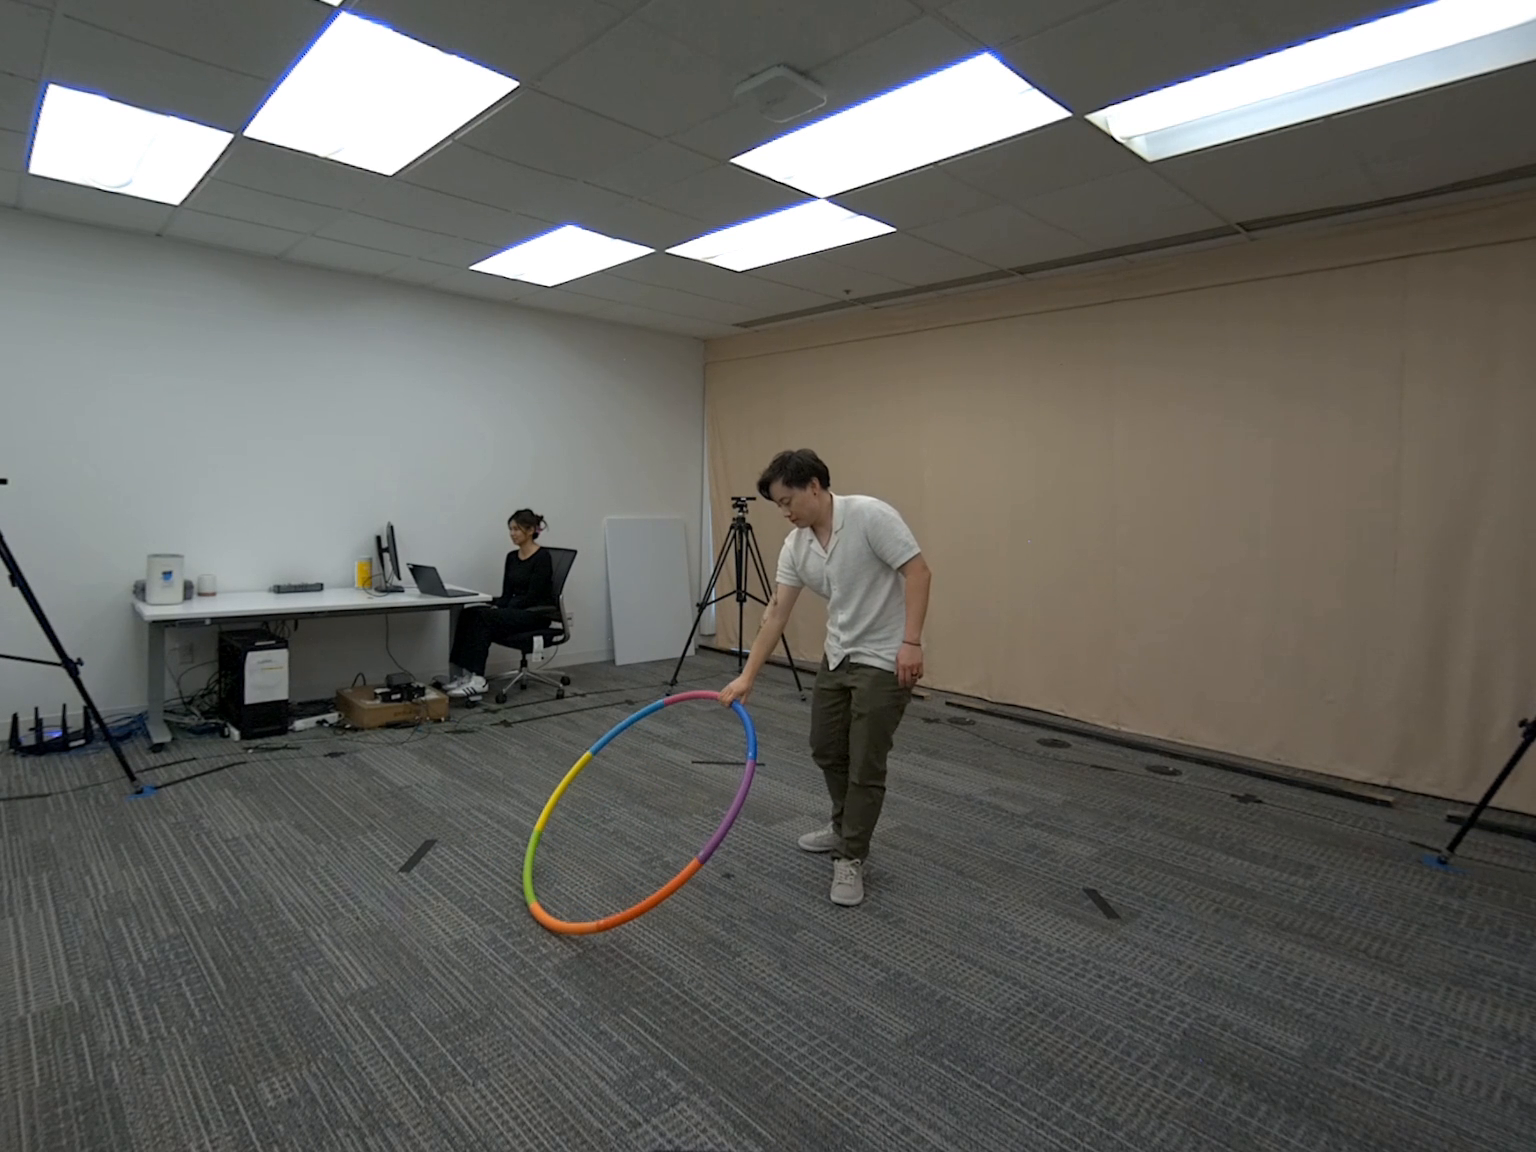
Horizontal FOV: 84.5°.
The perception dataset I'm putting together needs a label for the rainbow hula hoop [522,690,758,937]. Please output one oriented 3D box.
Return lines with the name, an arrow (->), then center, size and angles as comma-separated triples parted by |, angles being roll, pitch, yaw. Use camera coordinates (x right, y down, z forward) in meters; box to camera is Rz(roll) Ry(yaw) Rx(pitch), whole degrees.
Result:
rainbow hula hoop -> -0.464, 0.793, 2.942 | 0.983, 0.035, 0.997 | -29, 26, 13
